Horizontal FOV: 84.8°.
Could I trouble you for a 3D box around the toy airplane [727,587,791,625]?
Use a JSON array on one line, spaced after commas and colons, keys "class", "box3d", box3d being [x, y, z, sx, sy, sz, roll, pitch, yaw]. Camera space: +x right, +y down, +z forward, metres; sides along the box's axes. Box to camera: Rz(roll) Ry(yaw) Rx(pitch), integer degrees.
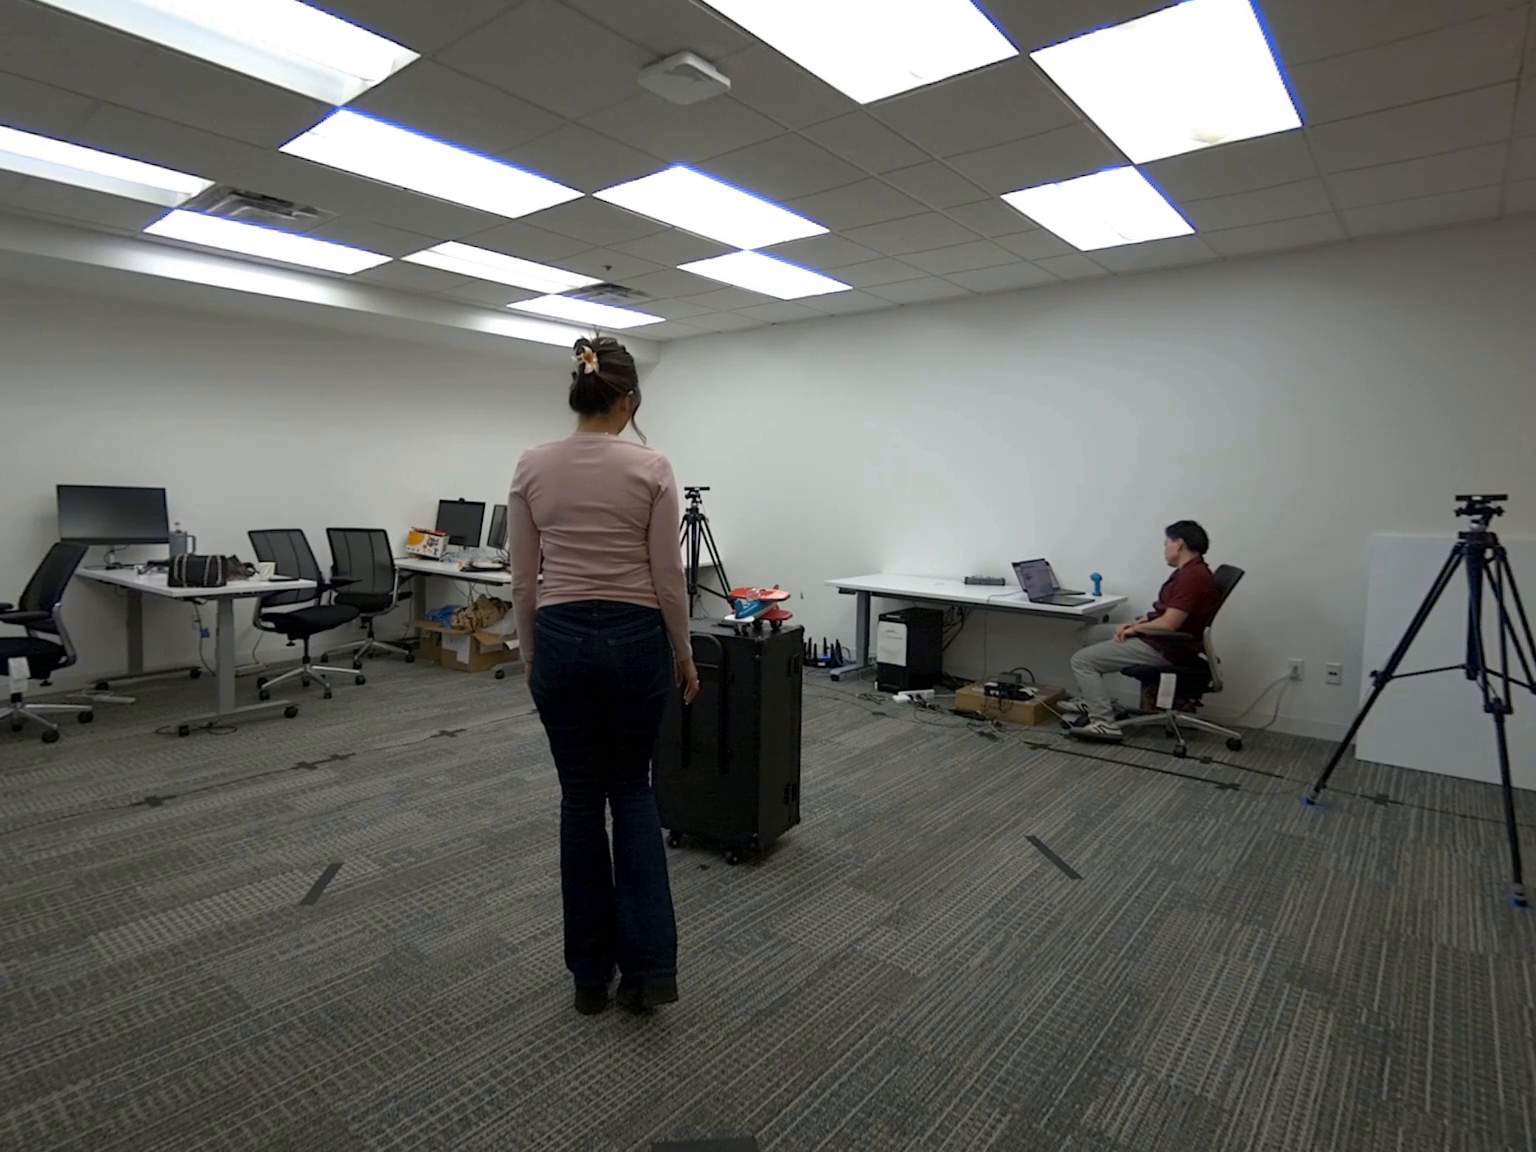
[{"class": "toy airplane", "box3d": [-0.043, 0.128, 3.237, 0.253, 0.156, 0.258, 1, 4, 6]}]
